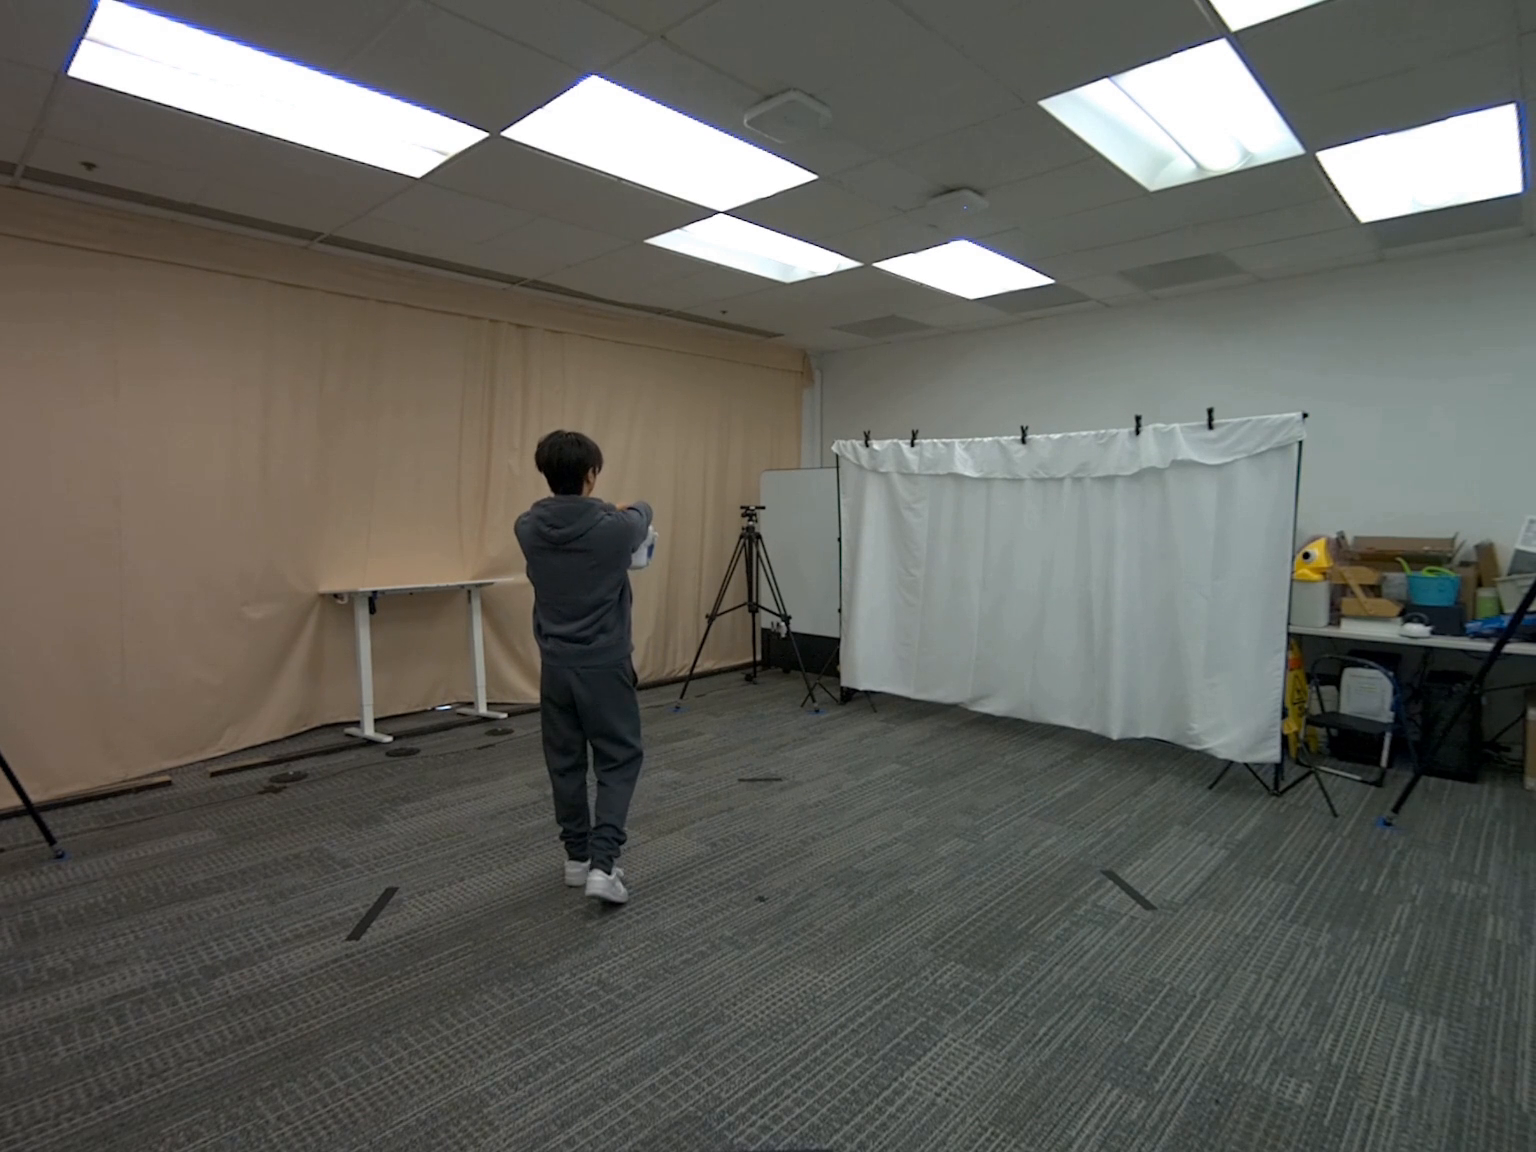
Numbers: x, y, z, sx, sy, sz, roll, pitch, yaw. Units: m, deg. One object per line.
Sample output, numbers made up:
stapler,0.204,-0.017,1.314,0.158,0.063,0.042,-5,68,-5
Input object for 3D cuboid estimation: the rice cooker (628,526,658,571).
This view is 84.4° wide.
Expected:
rice cooker,-0.597,-0.150,3.551,0.224,0.232,0.215,7,5,13
